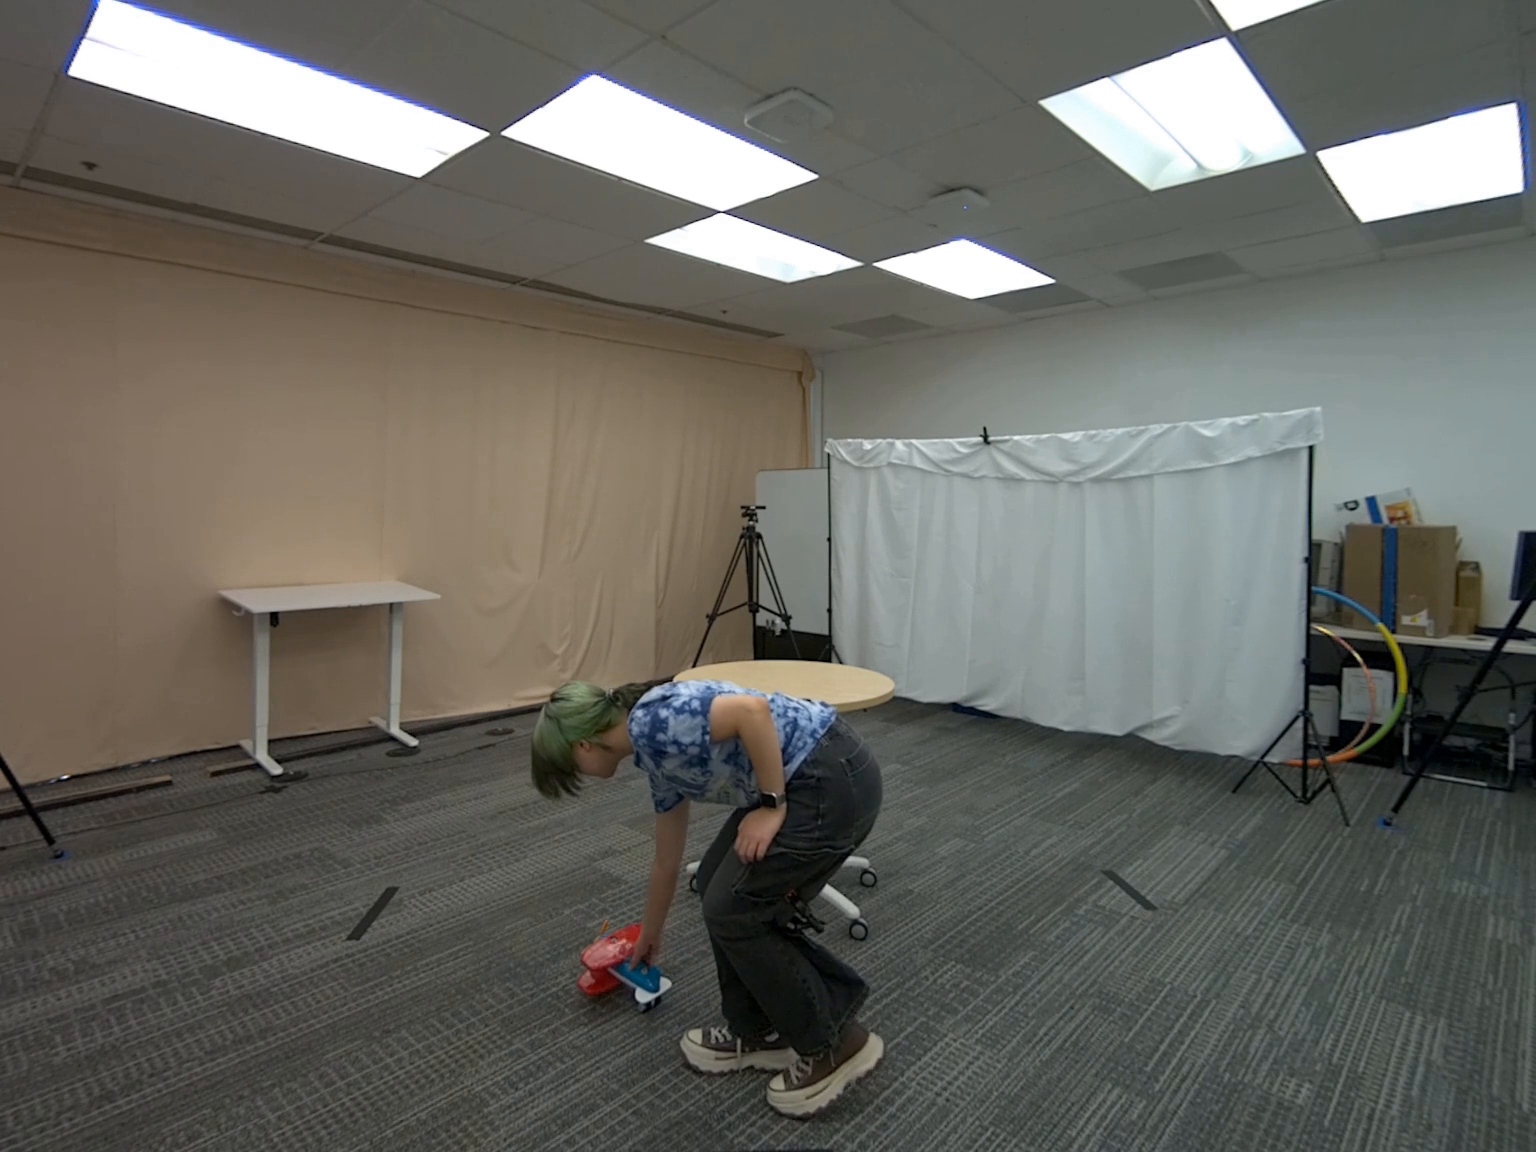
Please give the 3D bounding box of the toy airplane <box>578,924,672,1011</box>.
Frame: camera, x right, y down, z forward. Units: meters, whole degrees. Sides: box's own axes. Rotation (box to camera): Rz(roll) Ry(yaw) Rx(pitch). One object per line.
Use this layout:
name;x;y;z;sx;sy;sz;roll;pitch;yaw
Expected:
toy airplane;-0.387;1.123;2.403;0.262;0.156;0.249;-1;5;9
